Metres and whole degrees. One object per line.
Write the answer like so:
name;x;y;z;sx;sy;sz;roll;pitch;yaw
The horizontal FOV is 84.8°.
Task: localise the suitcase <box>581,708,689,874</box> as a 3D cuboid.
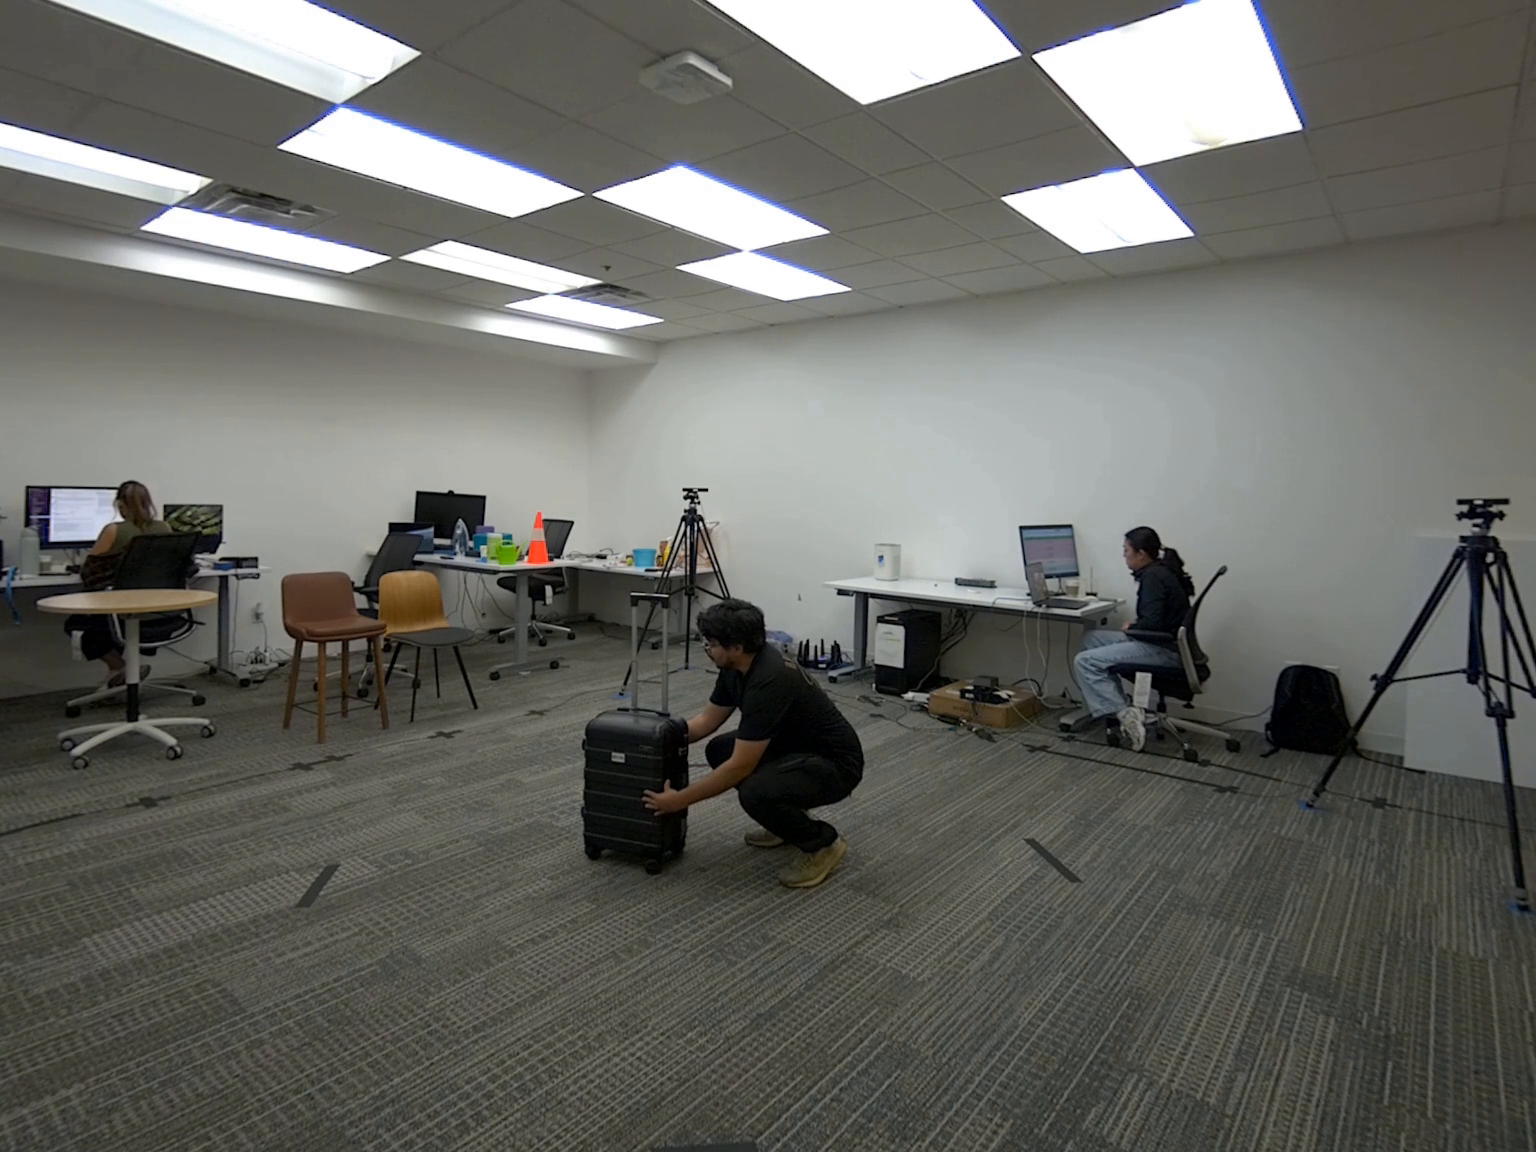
suitcase;-0.501;0.583;3.186;0.392;0.974;0.253;3;5;18
